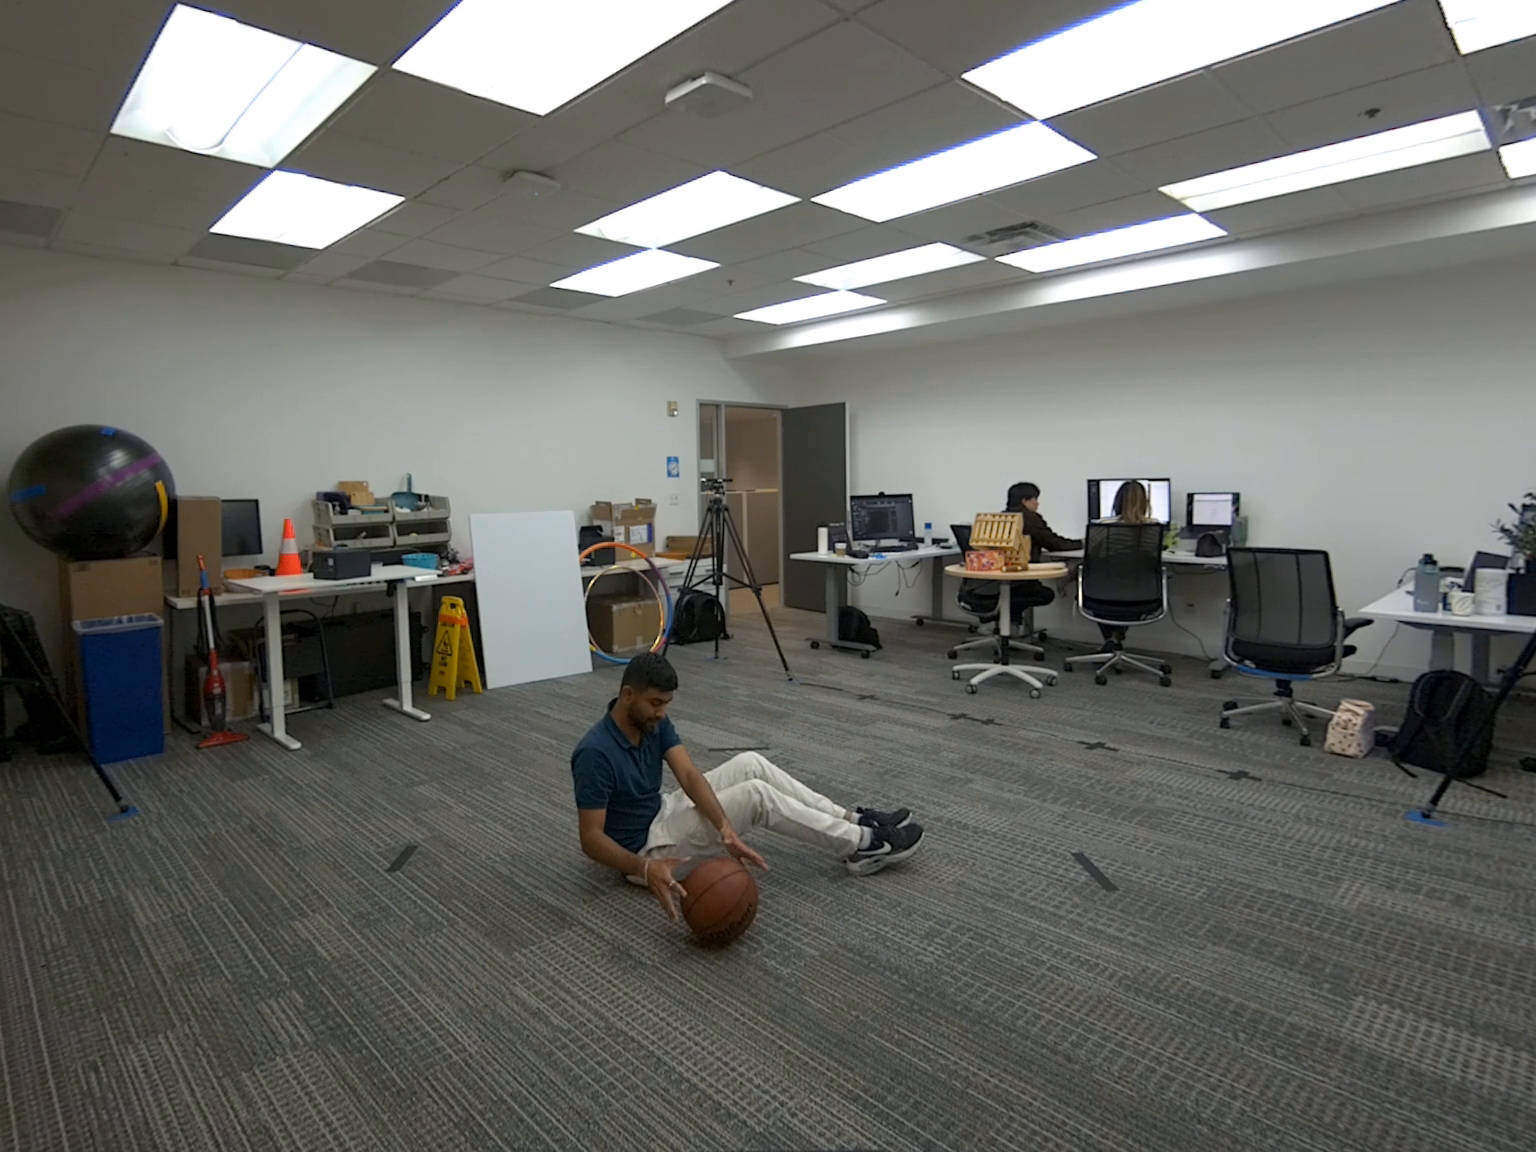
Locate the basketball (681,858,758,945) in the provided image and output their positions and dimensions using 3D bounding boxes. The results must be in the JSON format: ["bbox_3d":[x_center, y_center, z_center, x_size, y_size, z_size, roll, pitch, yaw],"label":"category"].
[{"bbox_3d":[-0.146,0.984,2.607,0.236,0.235,0.237,-1,5,-2],"label":"basketball"}]
